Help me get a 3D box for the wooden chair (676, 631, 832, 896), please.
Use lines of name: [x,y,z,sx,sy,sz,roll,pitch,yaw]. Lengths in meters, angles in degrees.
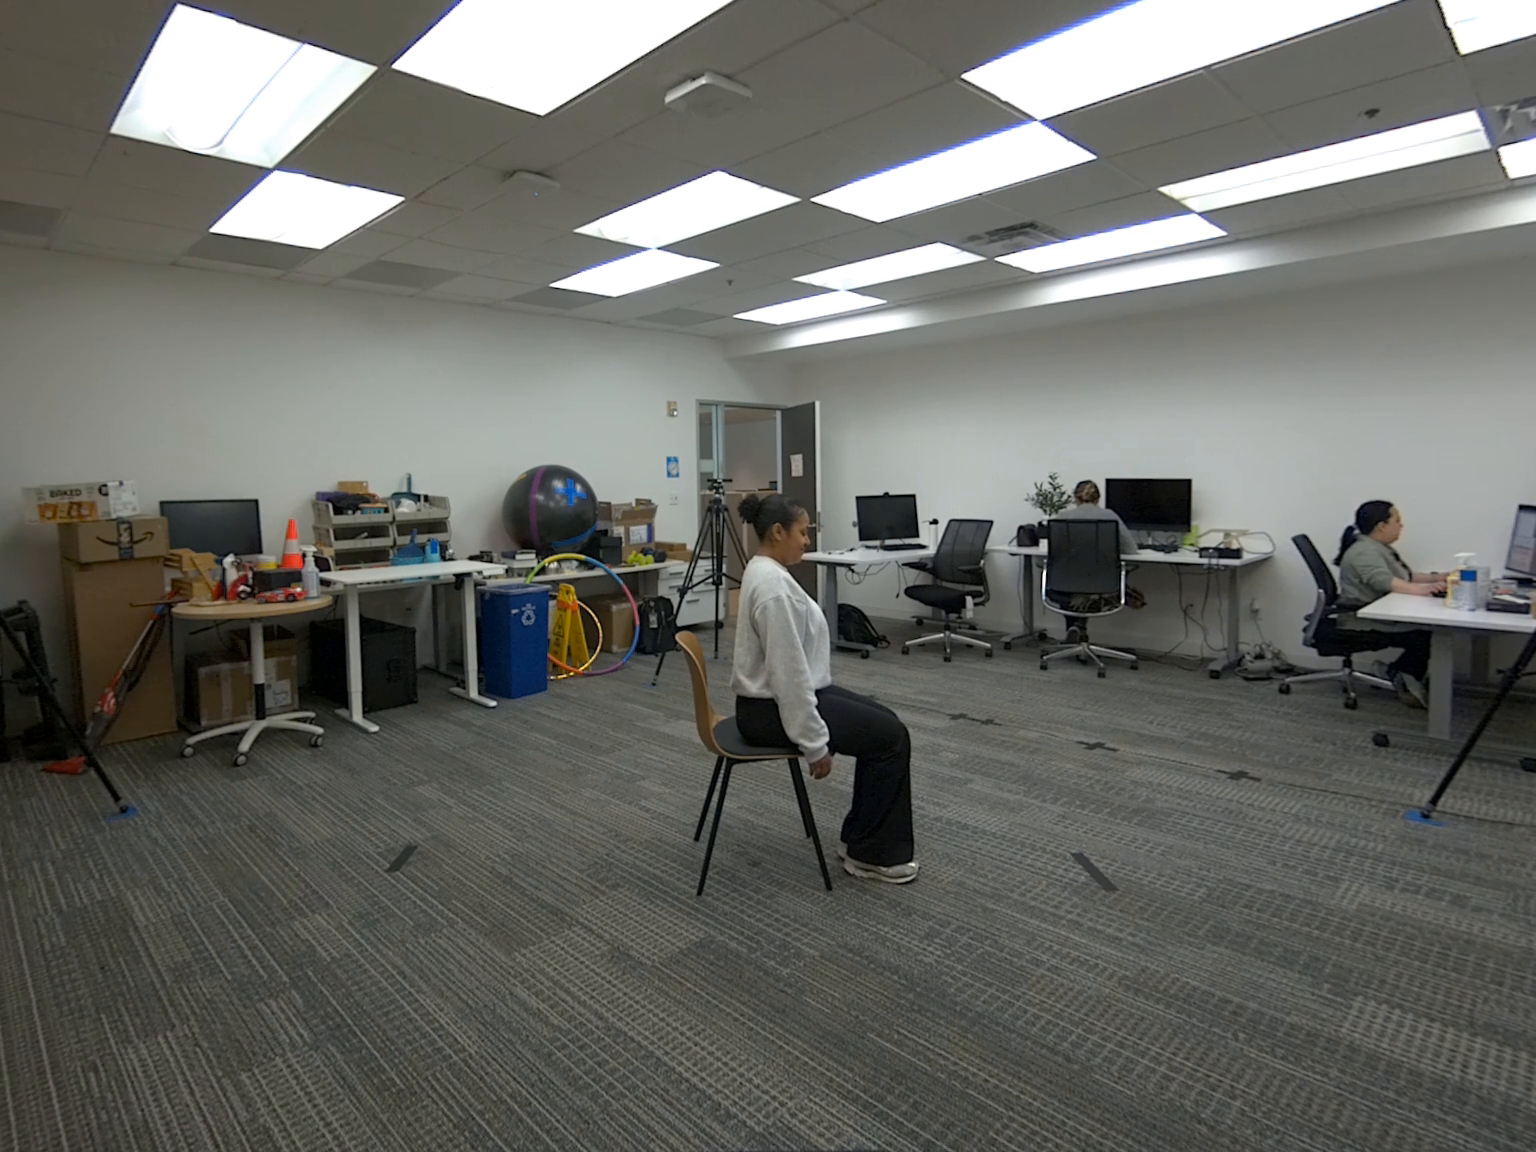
wooden chair: [-0.032,0.624,3.066,0.521,0.874,0.482,-5,4,-5]
